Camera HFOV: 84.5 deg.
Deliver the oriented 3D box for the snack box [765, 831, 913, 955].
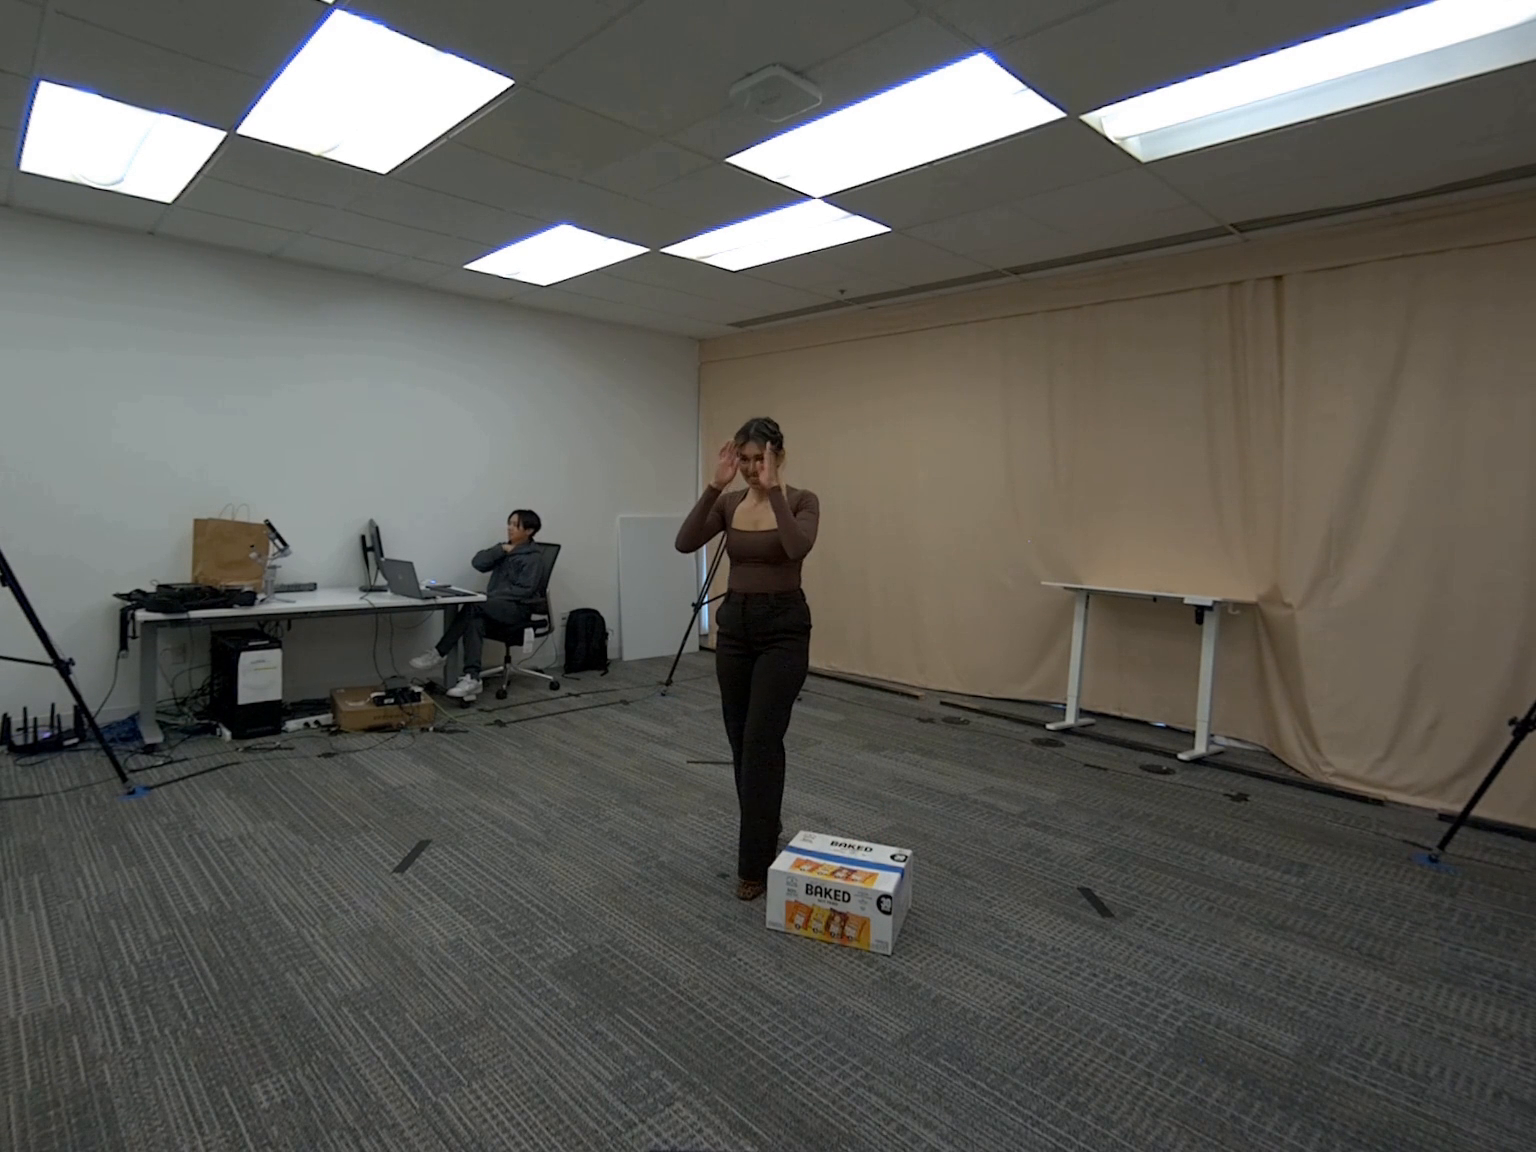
[{"bbox_3d":[0.242,1.041,2.796,0.412,0.205,0.335,3,5,21],"label":"snack box"}]
